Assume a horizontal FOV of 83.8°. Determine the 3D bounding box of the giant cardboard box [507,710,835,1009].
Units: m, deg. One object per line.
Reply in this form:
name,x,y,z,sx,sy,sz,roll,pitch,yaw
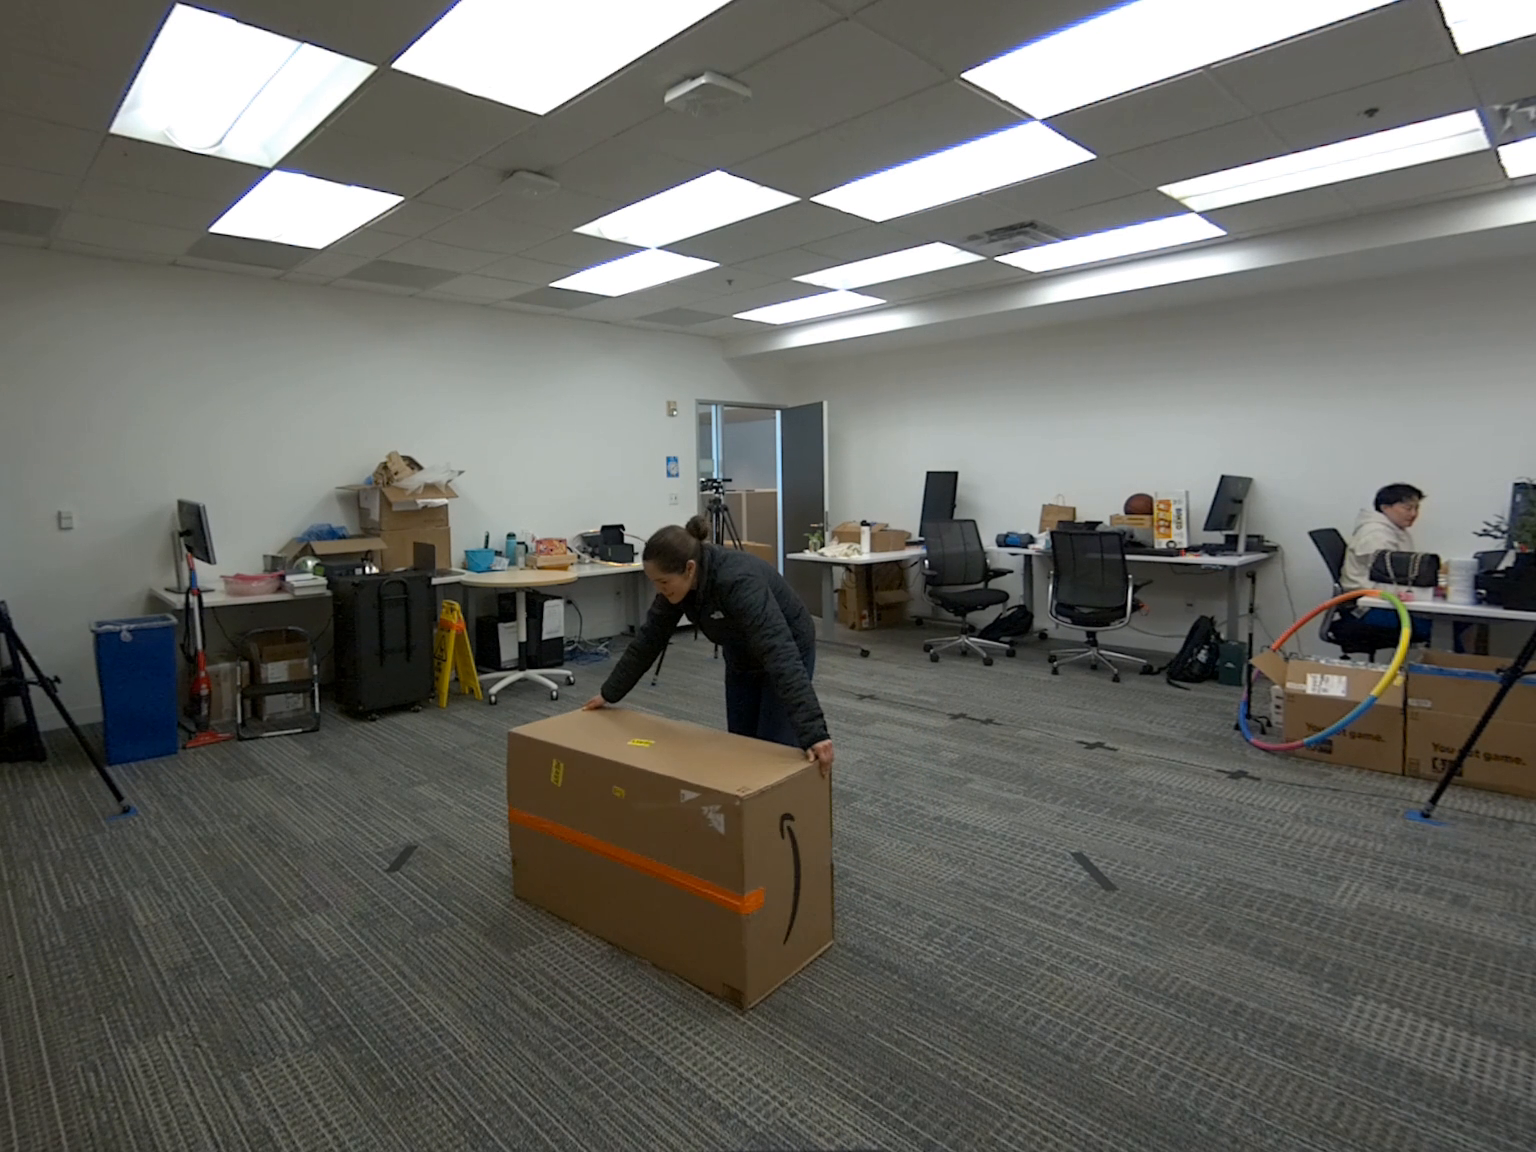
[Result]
giant cardboard box,-0.346,0.807,2.730,1.058,0.581,0.436,3,7,38
